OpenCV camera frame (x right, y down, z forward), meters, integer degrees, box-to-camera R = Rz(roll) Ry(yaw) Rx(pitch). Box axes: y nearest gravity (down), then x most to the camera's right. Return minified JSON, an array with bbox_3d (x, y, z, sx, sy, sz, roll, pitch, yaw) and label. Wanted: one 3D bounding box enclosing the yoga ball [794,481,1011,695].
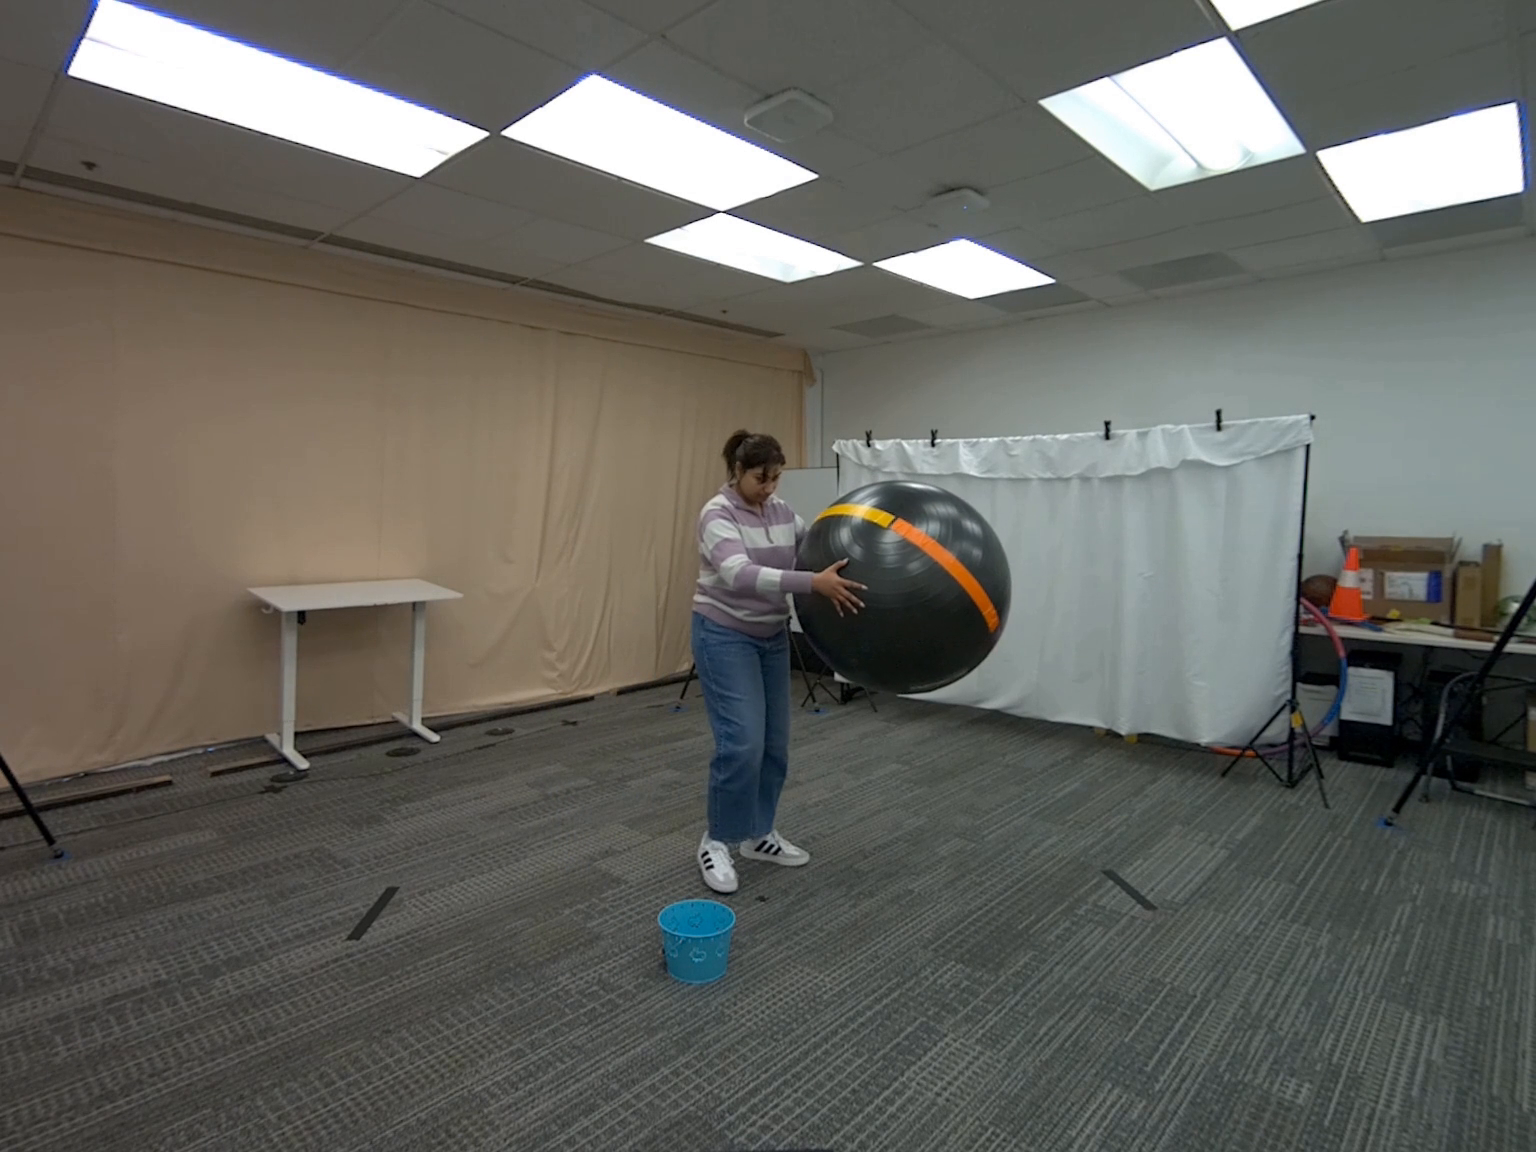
[{"bbox_3d":[0.474,0.043,3.007,0.757,0.756,0.761,0,4,-2],"label":"yoga ball"}]
